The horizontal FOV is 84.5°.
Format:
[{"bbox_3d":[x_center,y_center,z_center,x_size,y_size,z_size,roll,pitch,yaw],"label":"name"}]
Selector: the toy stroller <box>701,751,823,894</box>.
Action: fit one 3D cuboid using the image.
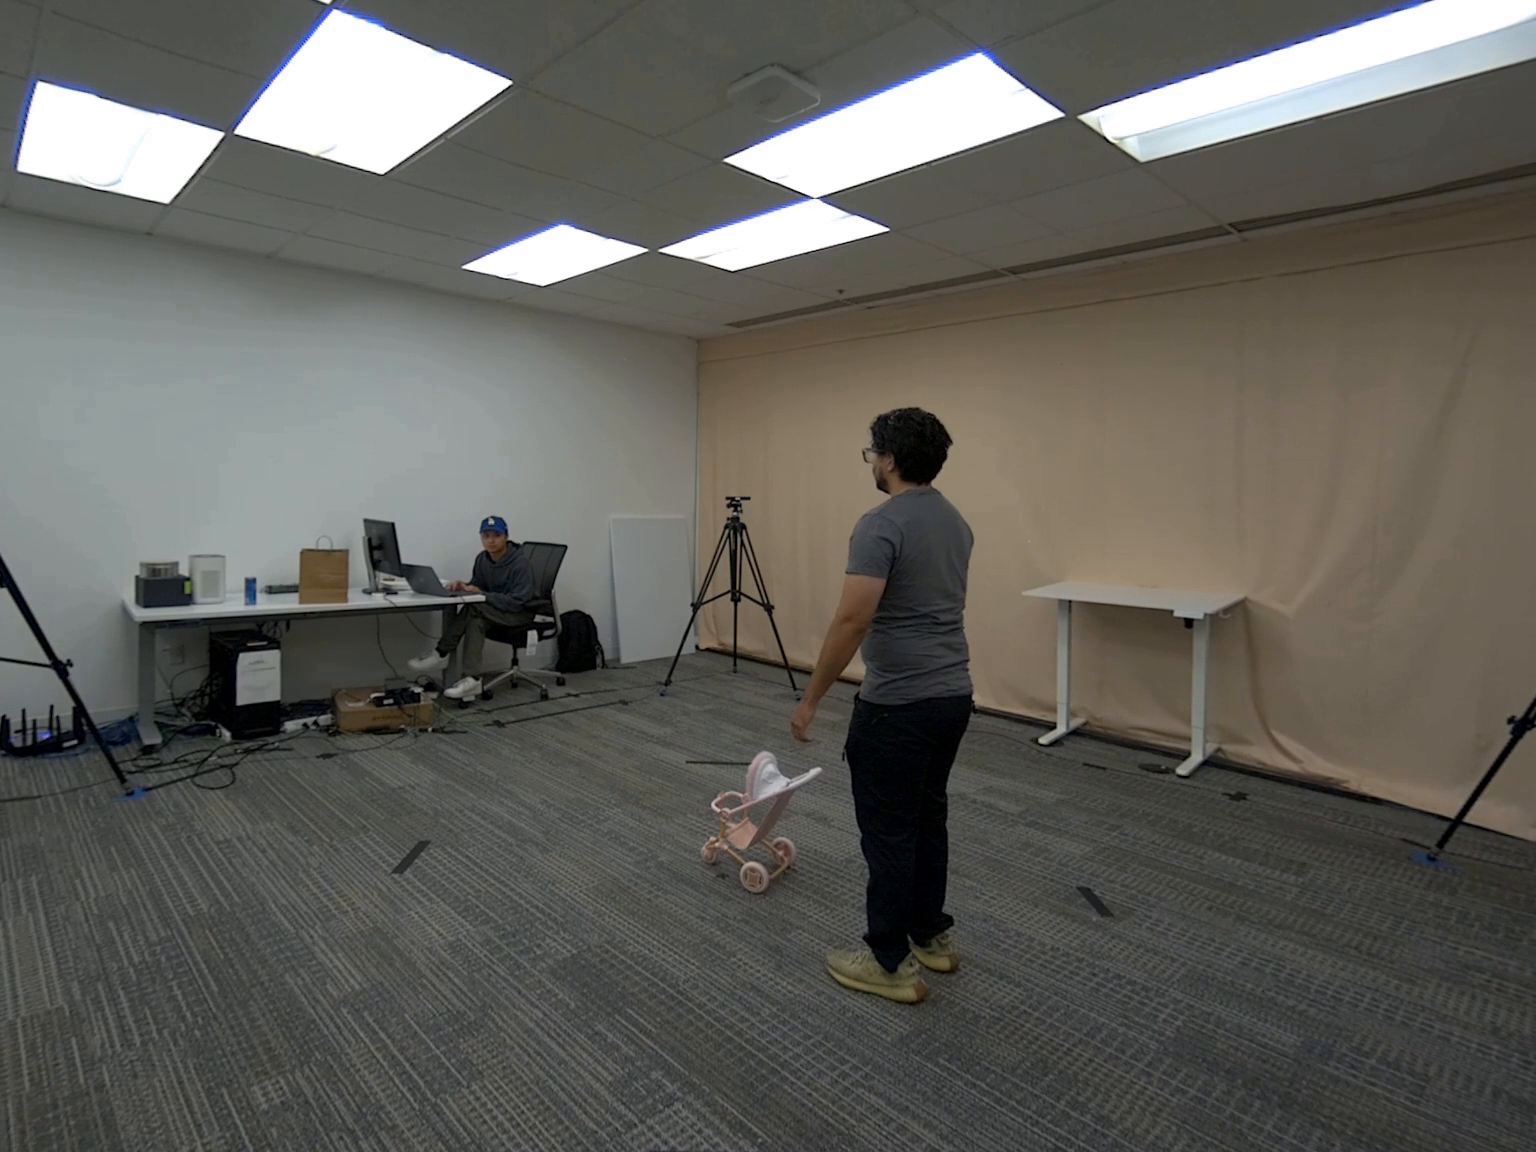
[{"bbox_3d":[-0.053,0.884,3.106,0.350,0.532,0.276,24,14,29],"label":"toy stroller"}]
